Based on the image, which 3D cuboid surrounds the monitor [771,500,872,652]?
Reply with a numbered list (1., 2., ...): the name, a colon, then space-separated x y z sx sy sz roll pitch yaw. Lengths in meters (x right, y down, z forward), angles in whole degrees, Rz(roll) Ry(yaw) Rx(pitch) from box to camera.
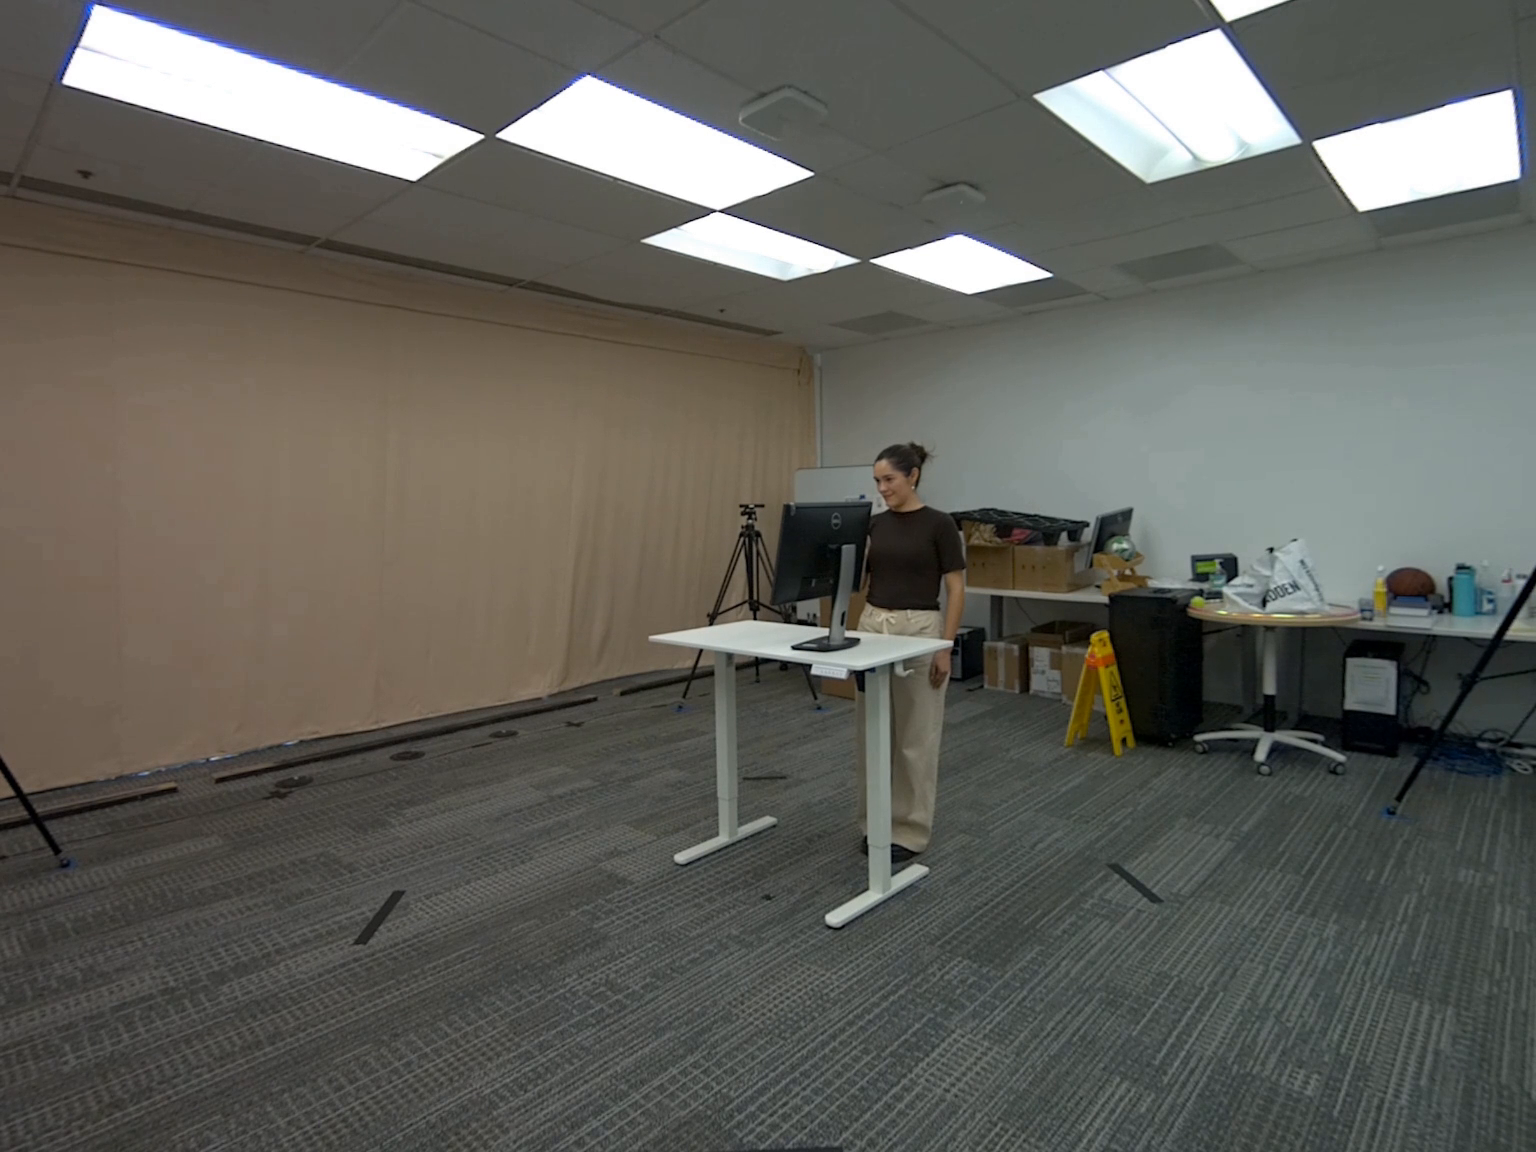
1. monitor: 0.225 -0.001 2.995 0.193 0.522 0.523 0 3 41
